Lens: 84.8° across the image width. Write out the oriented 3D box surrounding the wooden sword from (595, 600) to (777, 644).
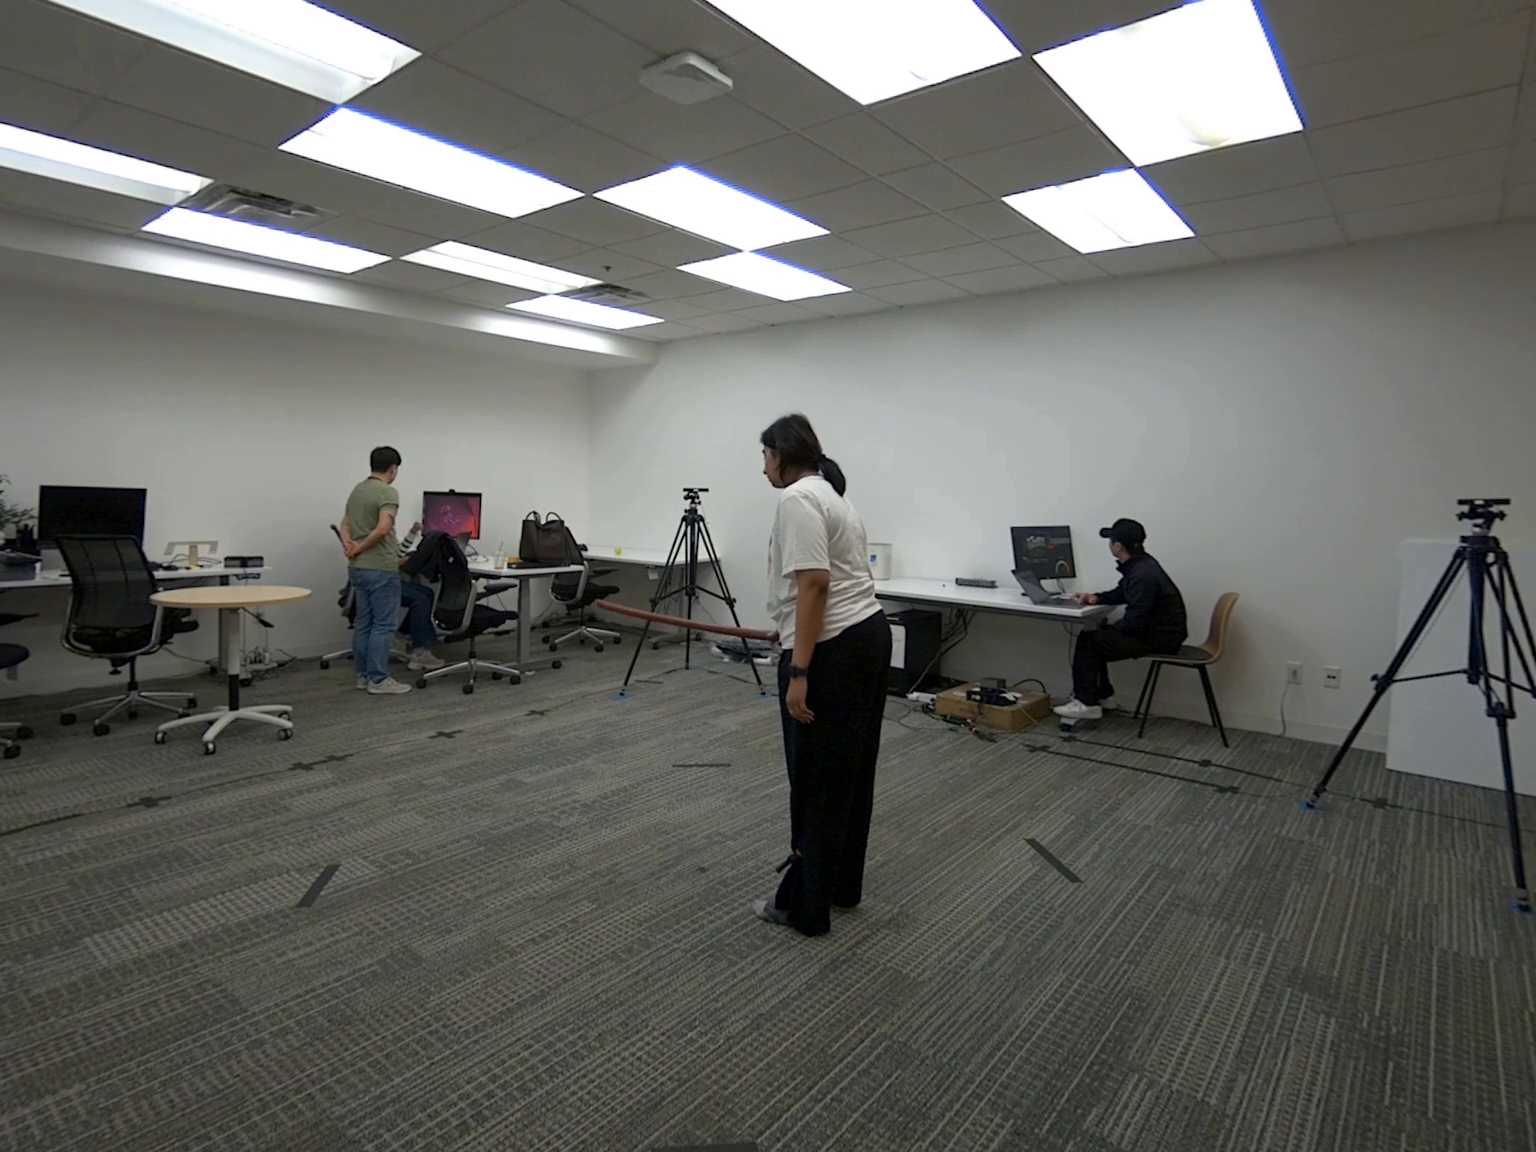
[{"bbox_3d":[-0.306,0.179,3.344,1.060,0.051,0.023,7,14,39],"label":"wooden sword"}]
